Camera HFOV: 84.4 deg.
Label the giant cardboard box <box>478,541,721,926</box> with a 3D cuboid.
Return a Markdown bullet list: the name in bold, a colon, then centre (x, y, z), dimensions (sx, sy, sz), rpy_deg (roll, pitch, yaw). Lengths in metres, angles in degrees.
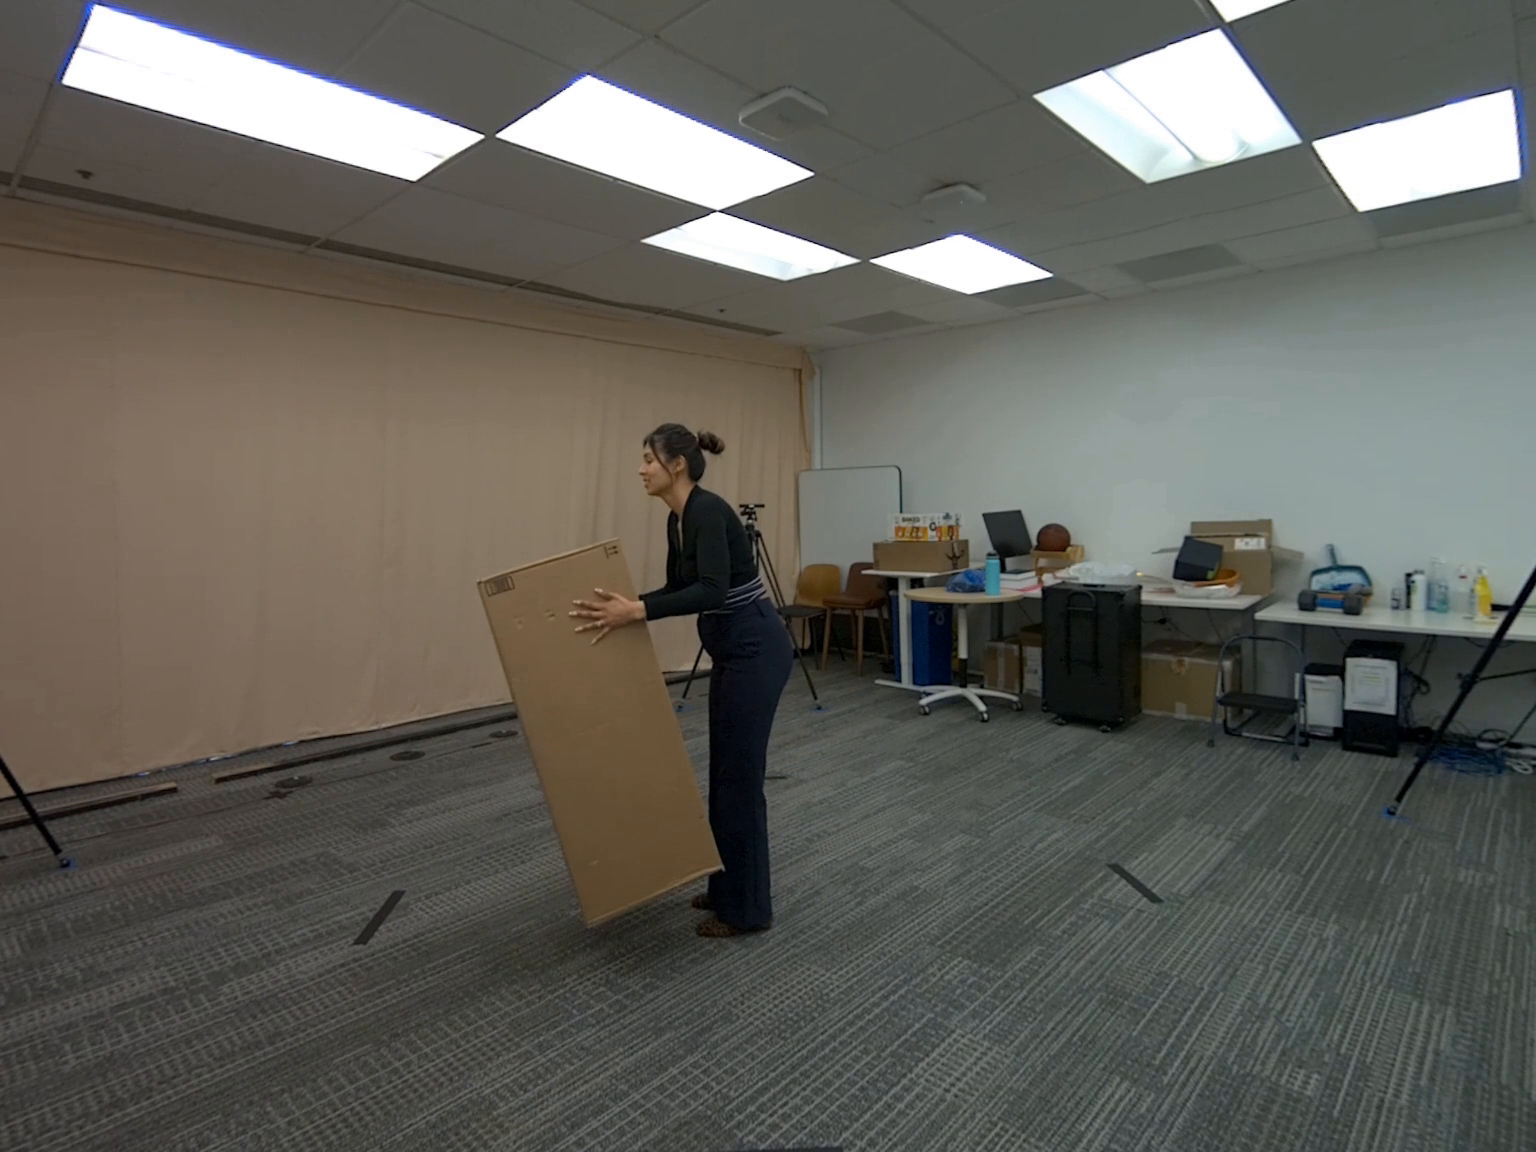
- **giant cardboard box**: centre (-0.556, 0.444, 2.676), dimensions (0.420, 1.024, 0.587), rpy_deg (-17, 2, -18)
